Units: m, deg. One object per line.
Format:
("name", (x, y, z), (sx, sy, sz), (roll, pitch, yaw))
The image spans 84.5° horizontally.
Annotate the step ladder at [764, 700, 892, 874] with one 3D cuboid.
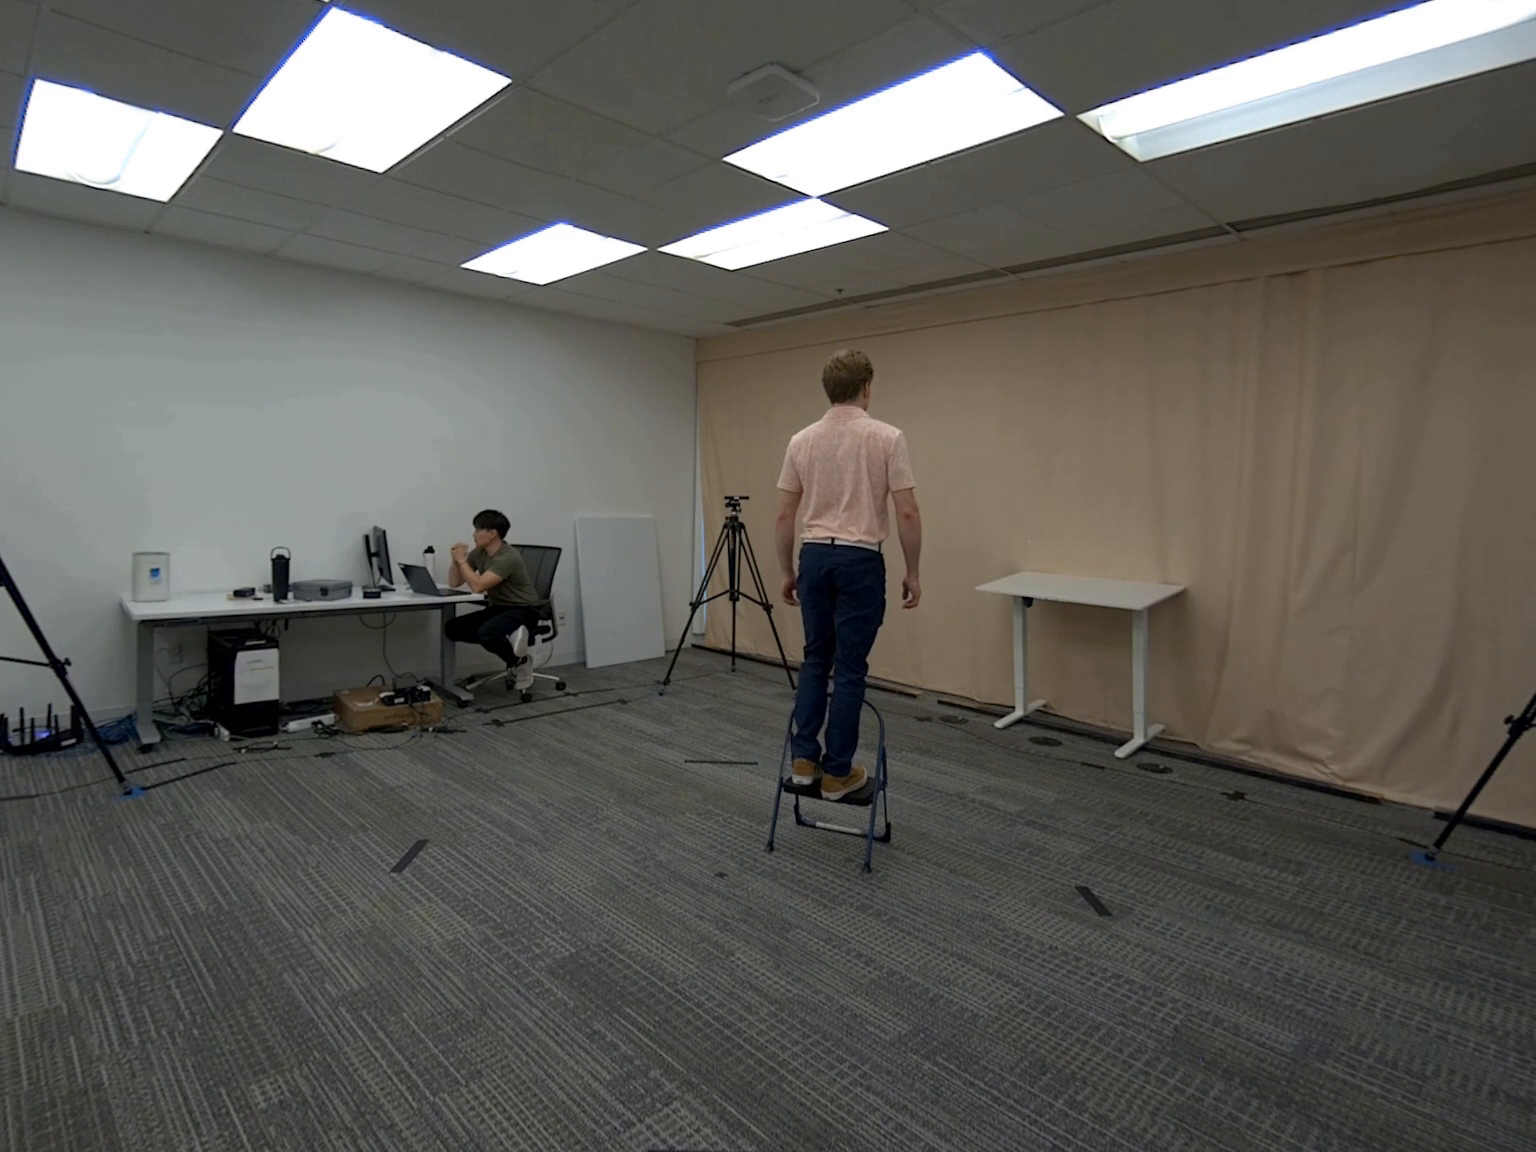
("step ladder", (0.253, 0.788, 3.380), (0.439, 0.605, 0.343), (3, 3, 24))
